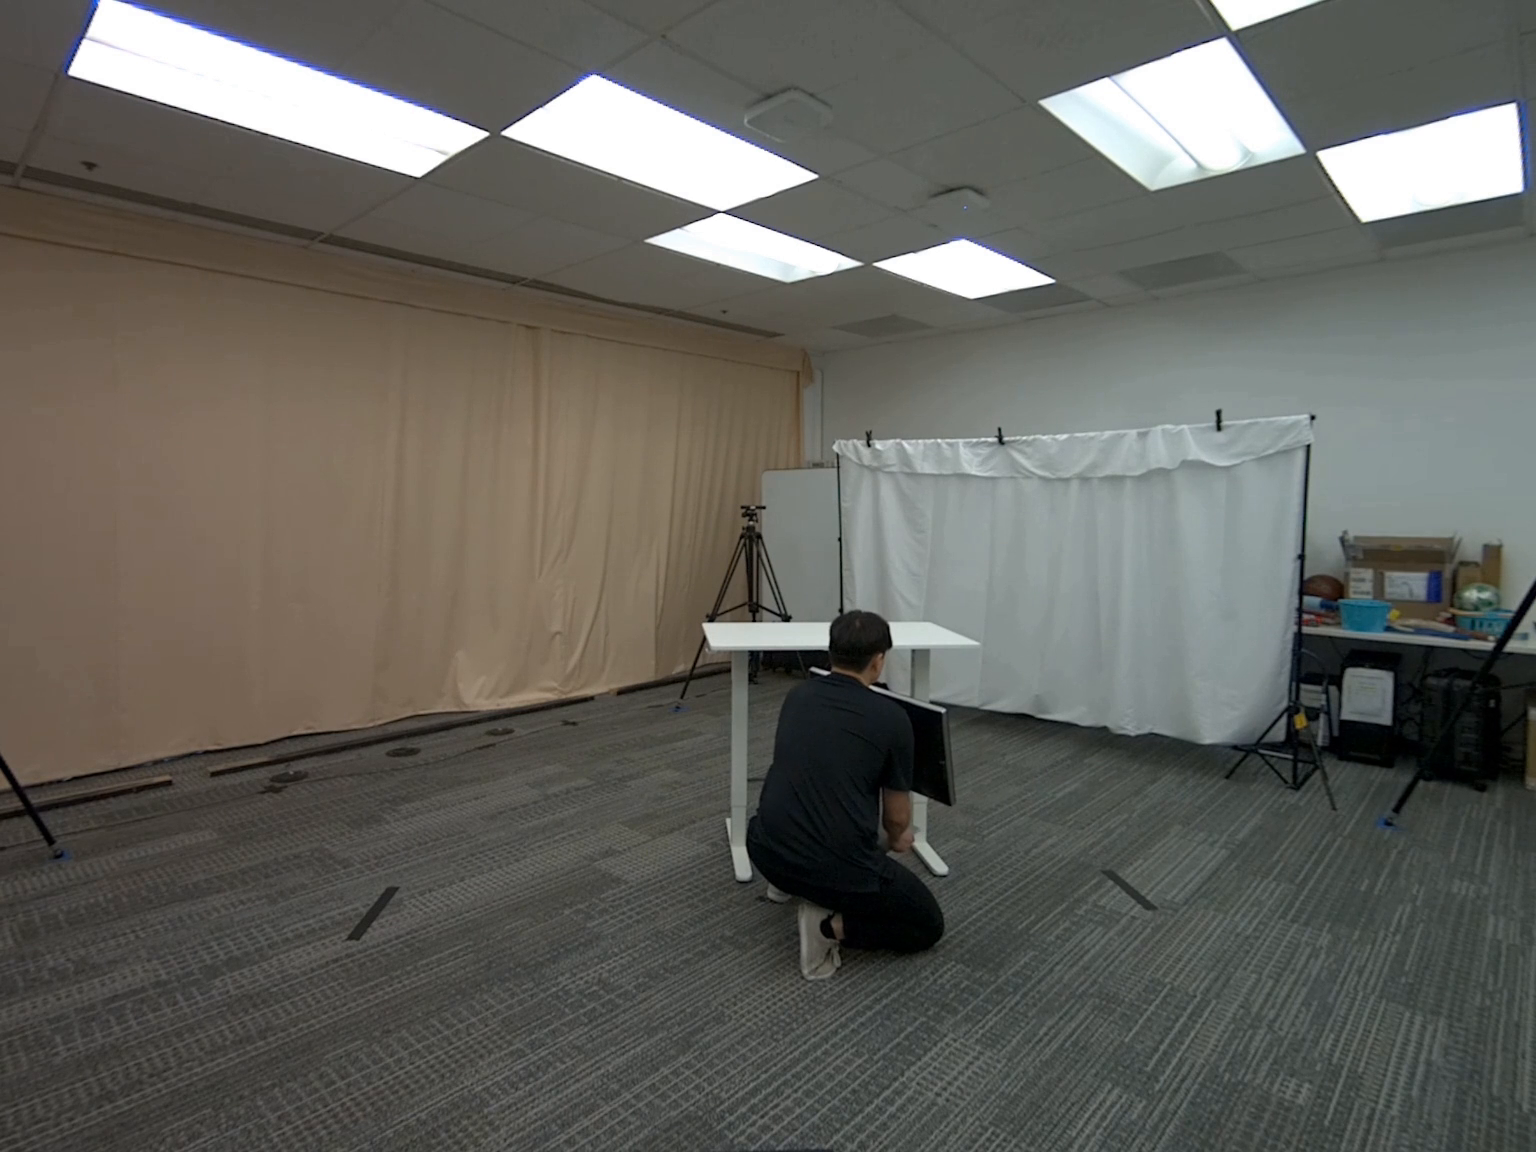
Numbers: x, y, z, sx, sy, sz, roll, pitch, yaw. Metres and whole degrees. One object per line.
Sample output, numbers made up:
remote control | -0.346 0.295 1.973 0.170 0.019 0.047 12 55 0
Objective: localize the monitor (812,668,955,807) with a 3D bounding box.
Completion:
monitor | 0.370 0.636 2.896 0.558 0.518 0.182 13 17 43
